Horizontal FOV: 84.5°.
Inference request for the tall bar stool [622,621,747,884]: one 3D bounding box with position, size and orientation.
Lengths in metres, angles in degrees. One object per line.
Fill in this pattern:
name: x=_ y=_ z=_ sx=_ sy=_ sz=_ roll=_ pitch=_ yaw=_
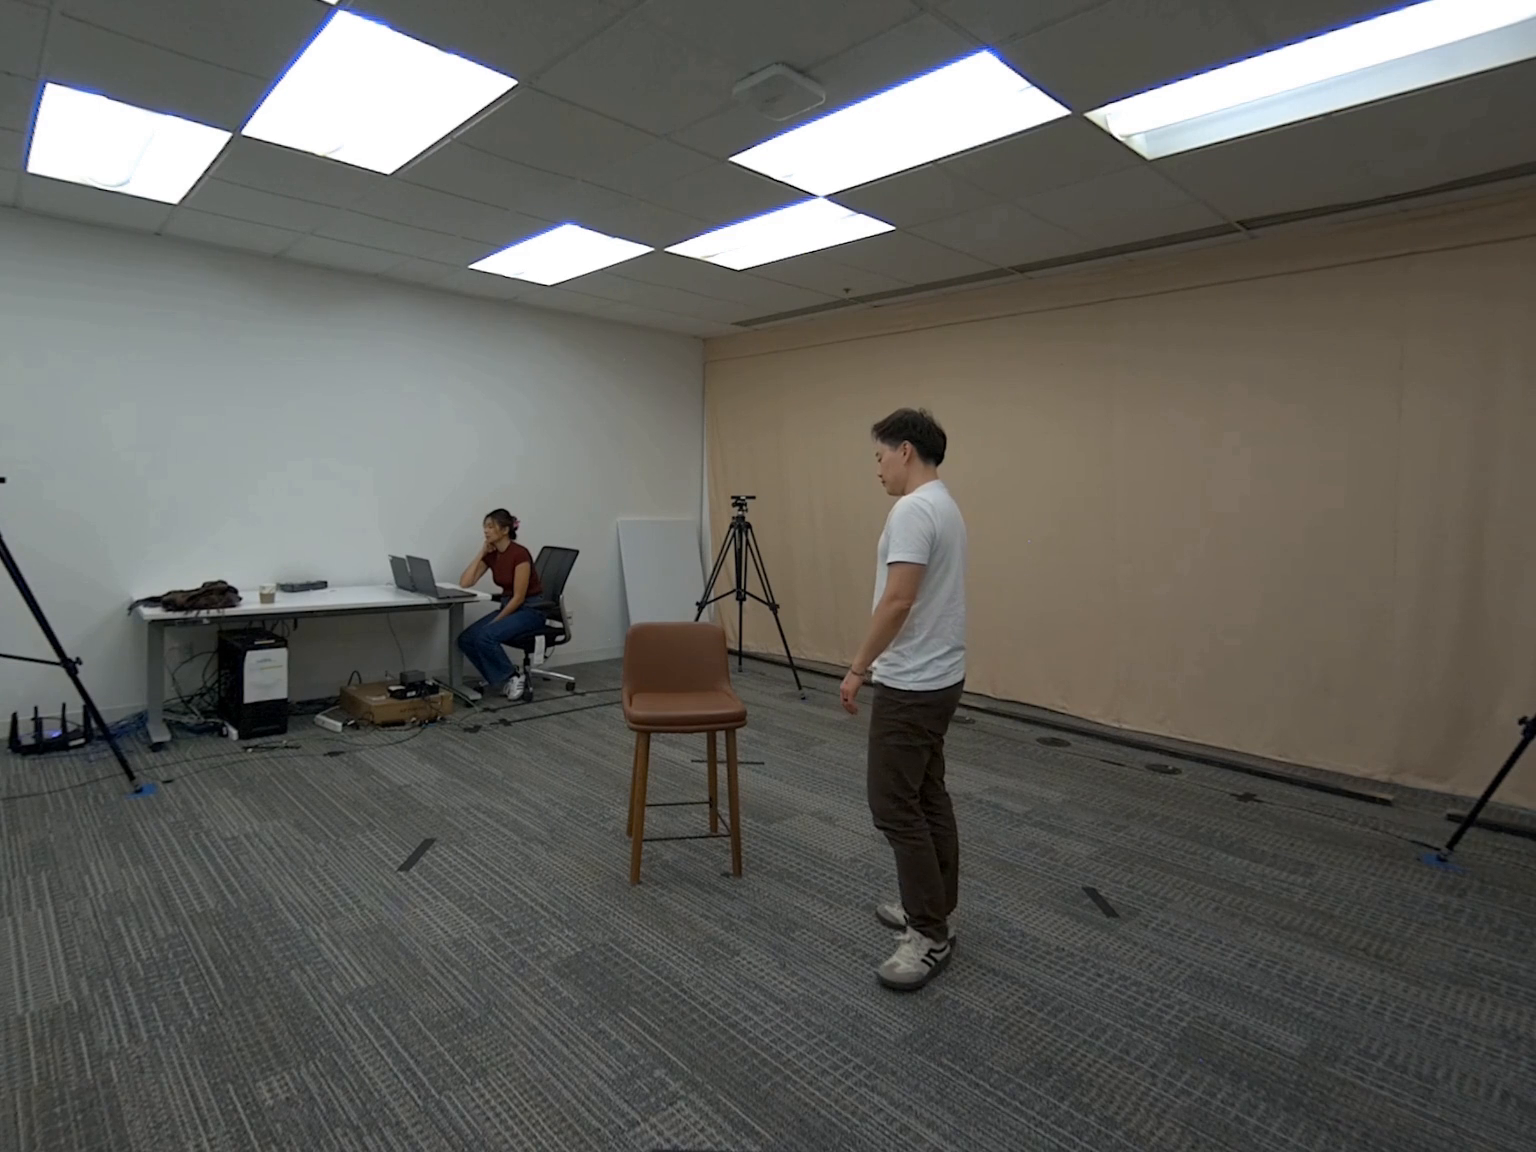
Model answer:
tall bar stool: x=-0.341 y=0.649 z=3.245 sx=0.452 sy=0.889 sz=0.473 roll=1 pitch=2 yaw=-13
